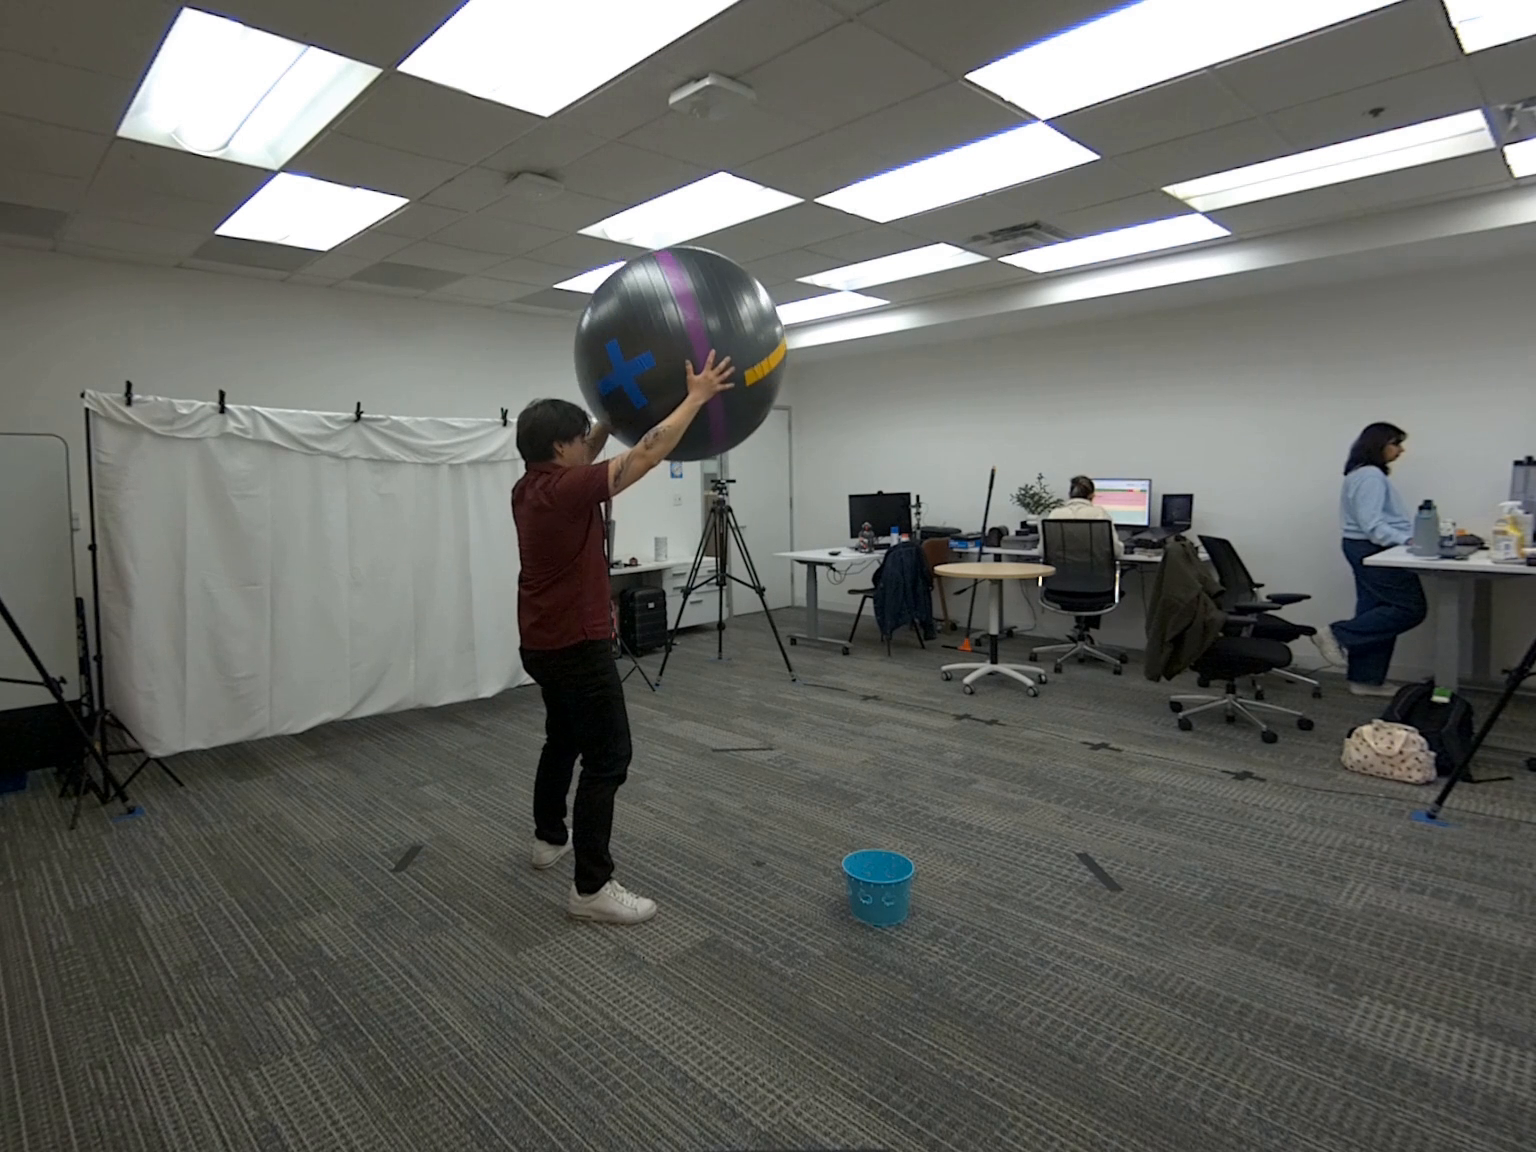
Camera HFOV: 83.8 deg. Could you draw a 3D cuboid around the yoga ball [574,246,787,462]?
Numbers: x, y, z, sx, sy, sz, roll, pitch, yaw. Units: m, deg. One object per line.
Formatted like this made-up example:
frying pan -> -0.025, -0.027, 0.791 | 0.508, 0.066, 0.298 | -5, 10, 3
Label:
yoga ball -> -0.309, -0.778, 3.080 | 0.757, 0.755, 0.762 | -1, 5, -2
